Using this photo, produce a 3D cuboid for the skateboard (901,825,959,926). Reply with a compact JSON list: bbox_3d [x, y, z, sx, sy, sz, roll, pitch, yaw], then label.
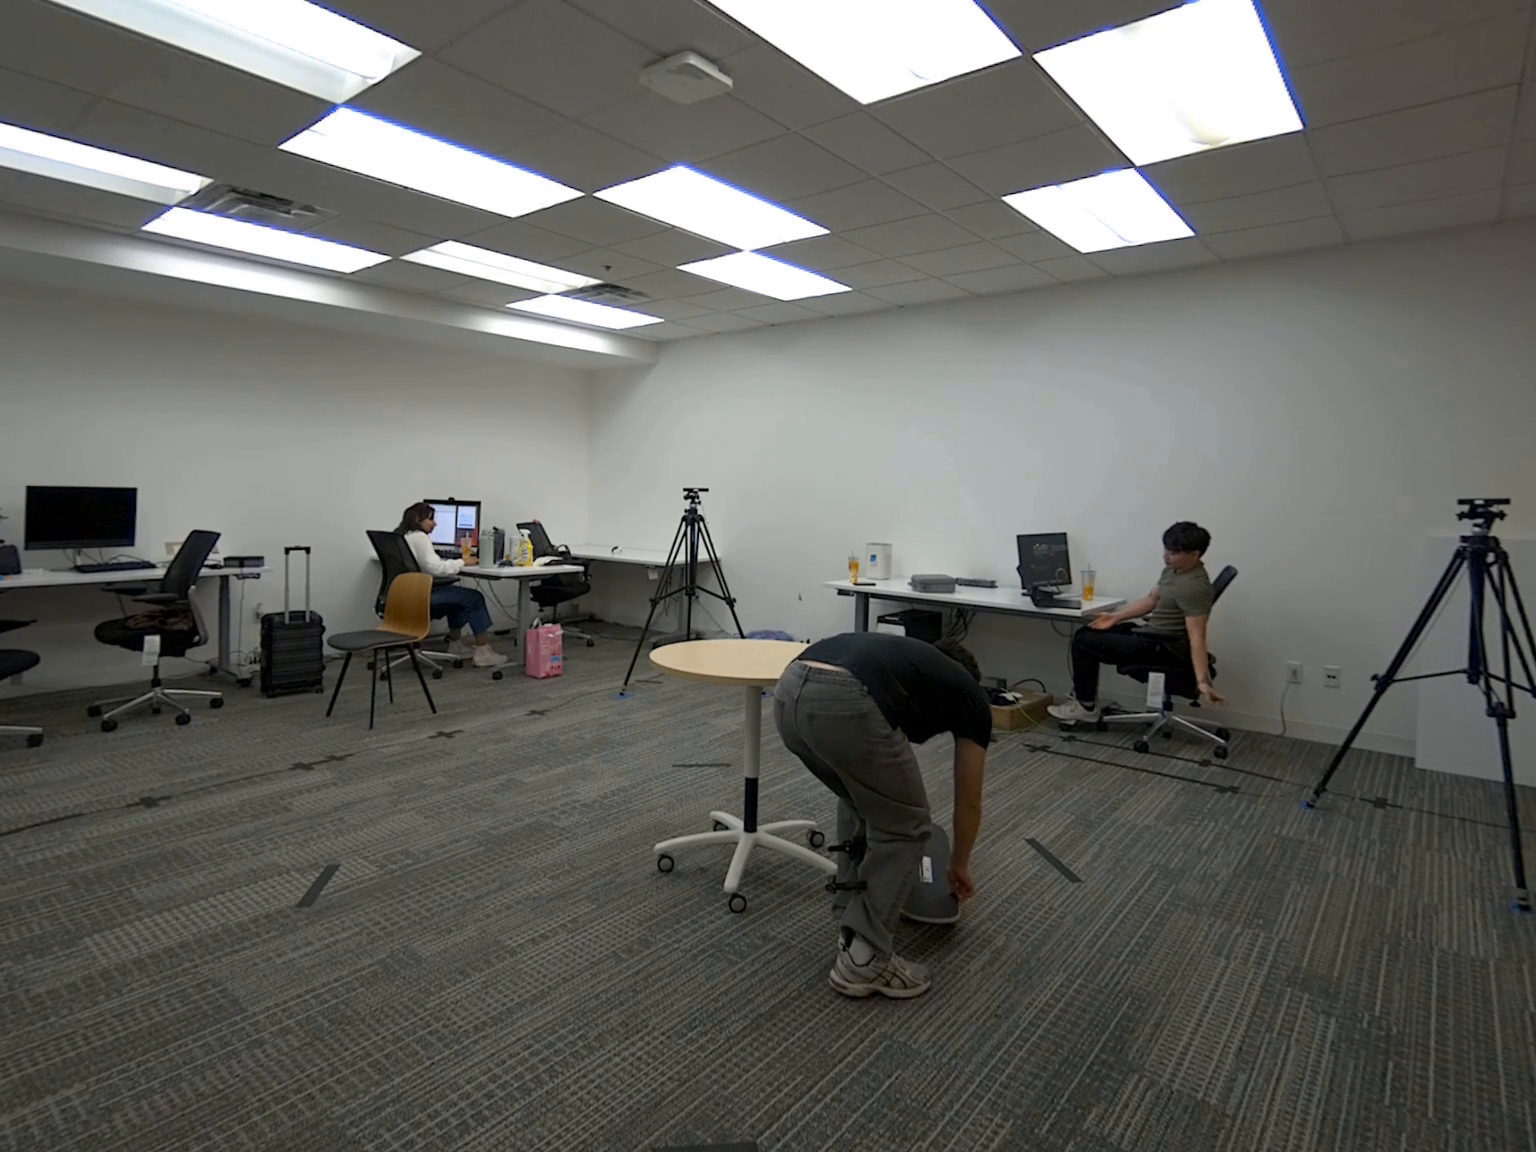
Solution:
[{"bbox_3d":[0.538,1.042,2.953,0.196,0.110,0.779,1,6,9],"label":"skateboard"}]
